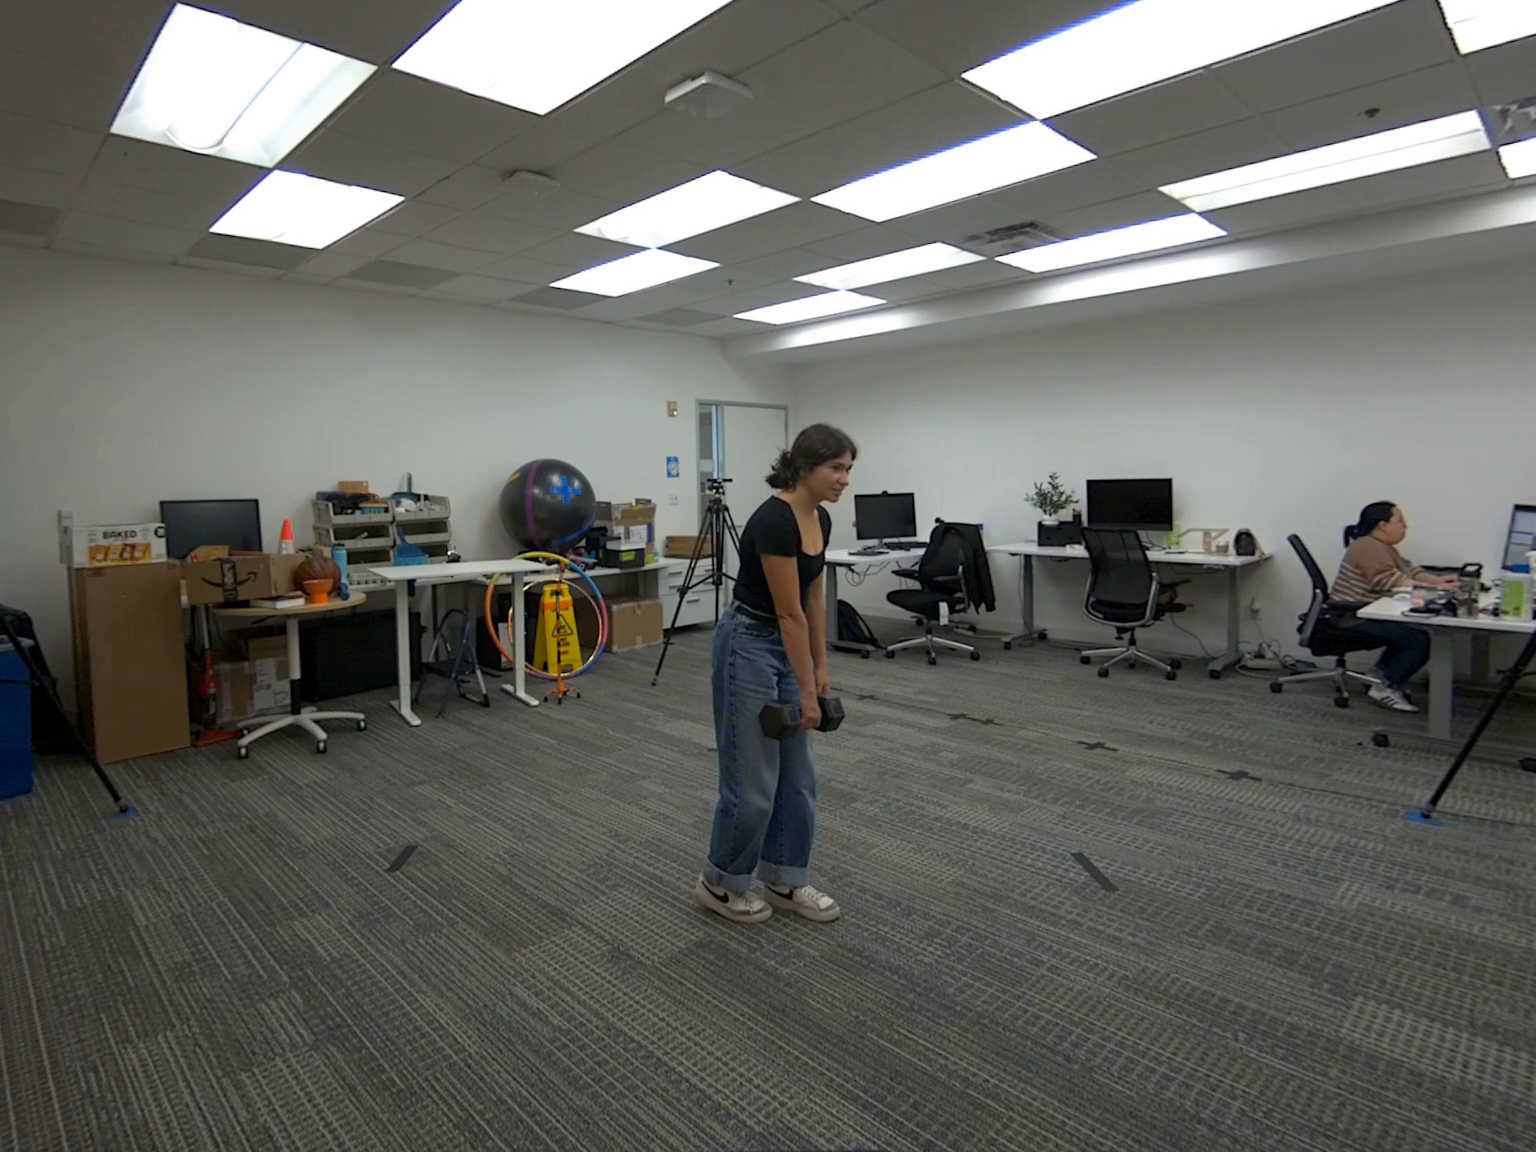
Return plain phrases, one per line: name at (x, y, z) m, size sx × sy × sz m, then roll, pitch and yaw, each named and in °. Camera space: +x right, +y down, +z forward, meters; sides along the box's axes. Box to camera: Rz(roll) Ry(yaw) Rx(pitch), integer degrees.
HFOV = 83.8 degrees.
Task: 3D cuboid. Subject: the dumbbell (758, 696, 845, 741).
dumbbell at (0.104, 0.433, 2.624) m, size 0.285 × 0.122 × 0.113 m, roll -2°, pitch 36°, yaw -48°
